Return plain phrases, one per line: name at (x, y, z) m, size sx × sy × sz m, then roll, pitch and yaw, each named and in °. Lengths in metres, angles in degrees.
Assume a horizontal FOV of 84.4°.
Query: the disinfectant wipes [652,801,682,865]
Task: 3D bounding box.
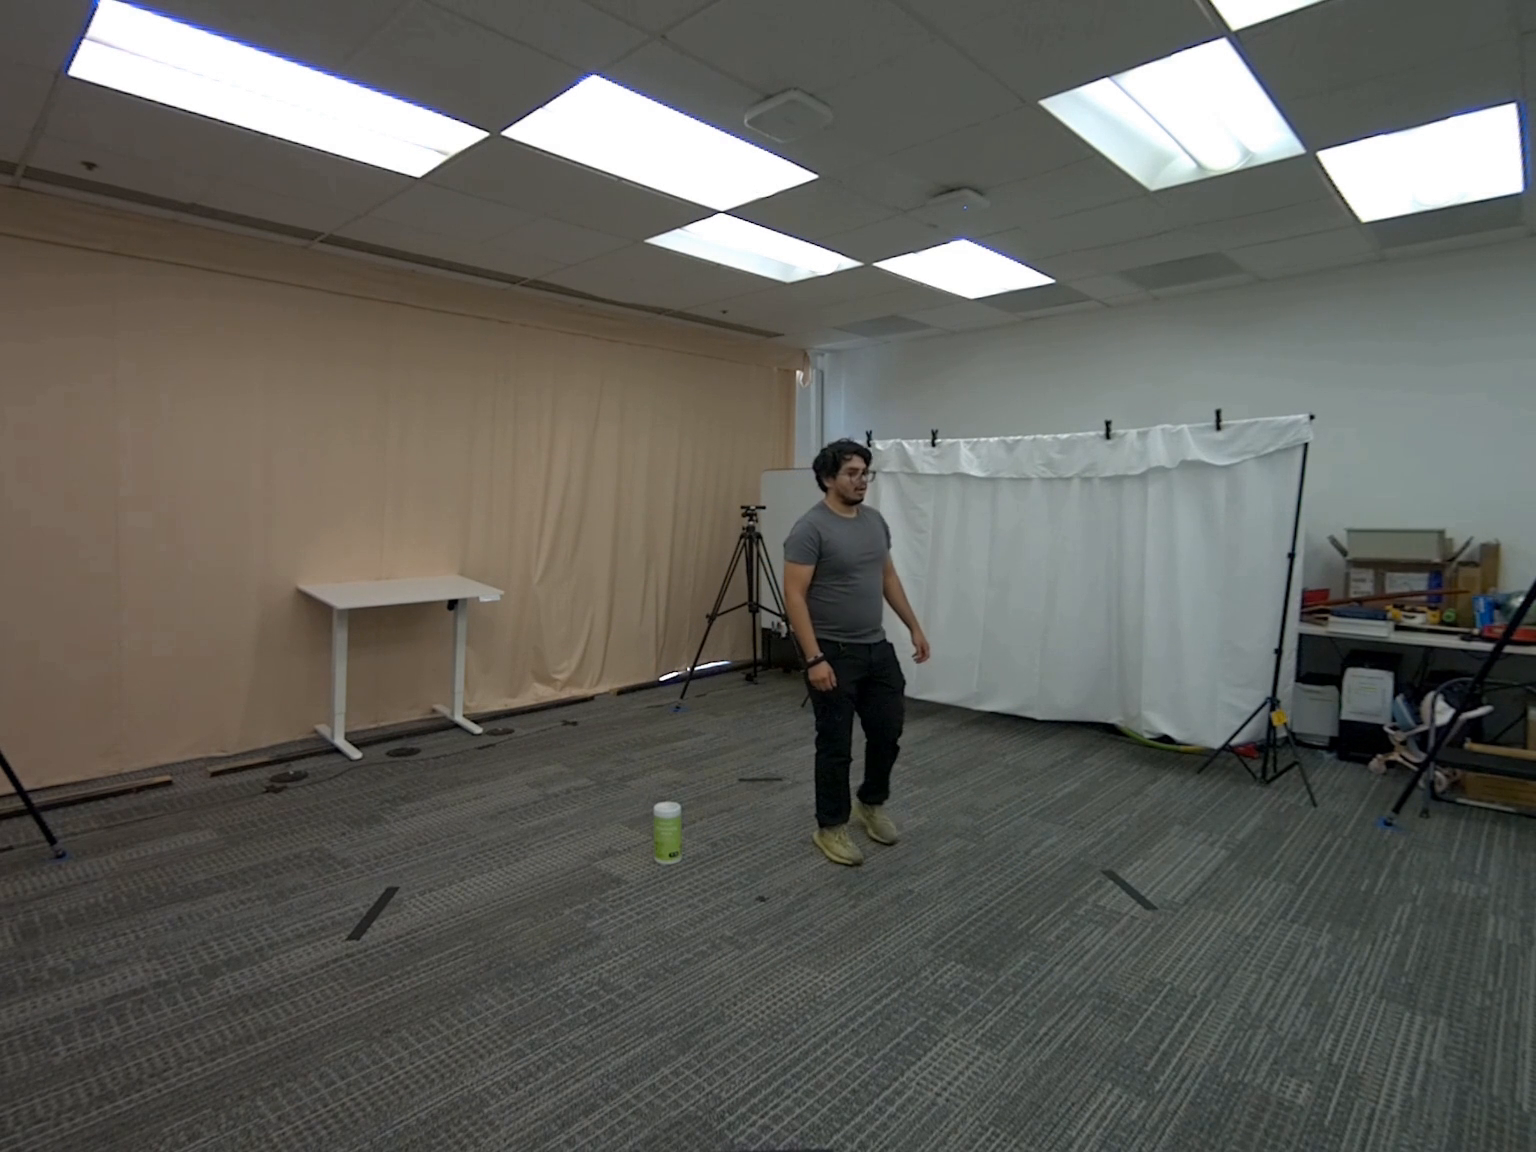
disinfectant wipes at (-0.400, 1.014, 3.303) m, size 0.117 × 0.217 × 0.118 m, roll 4°, pitch 2°, yaw -2°
